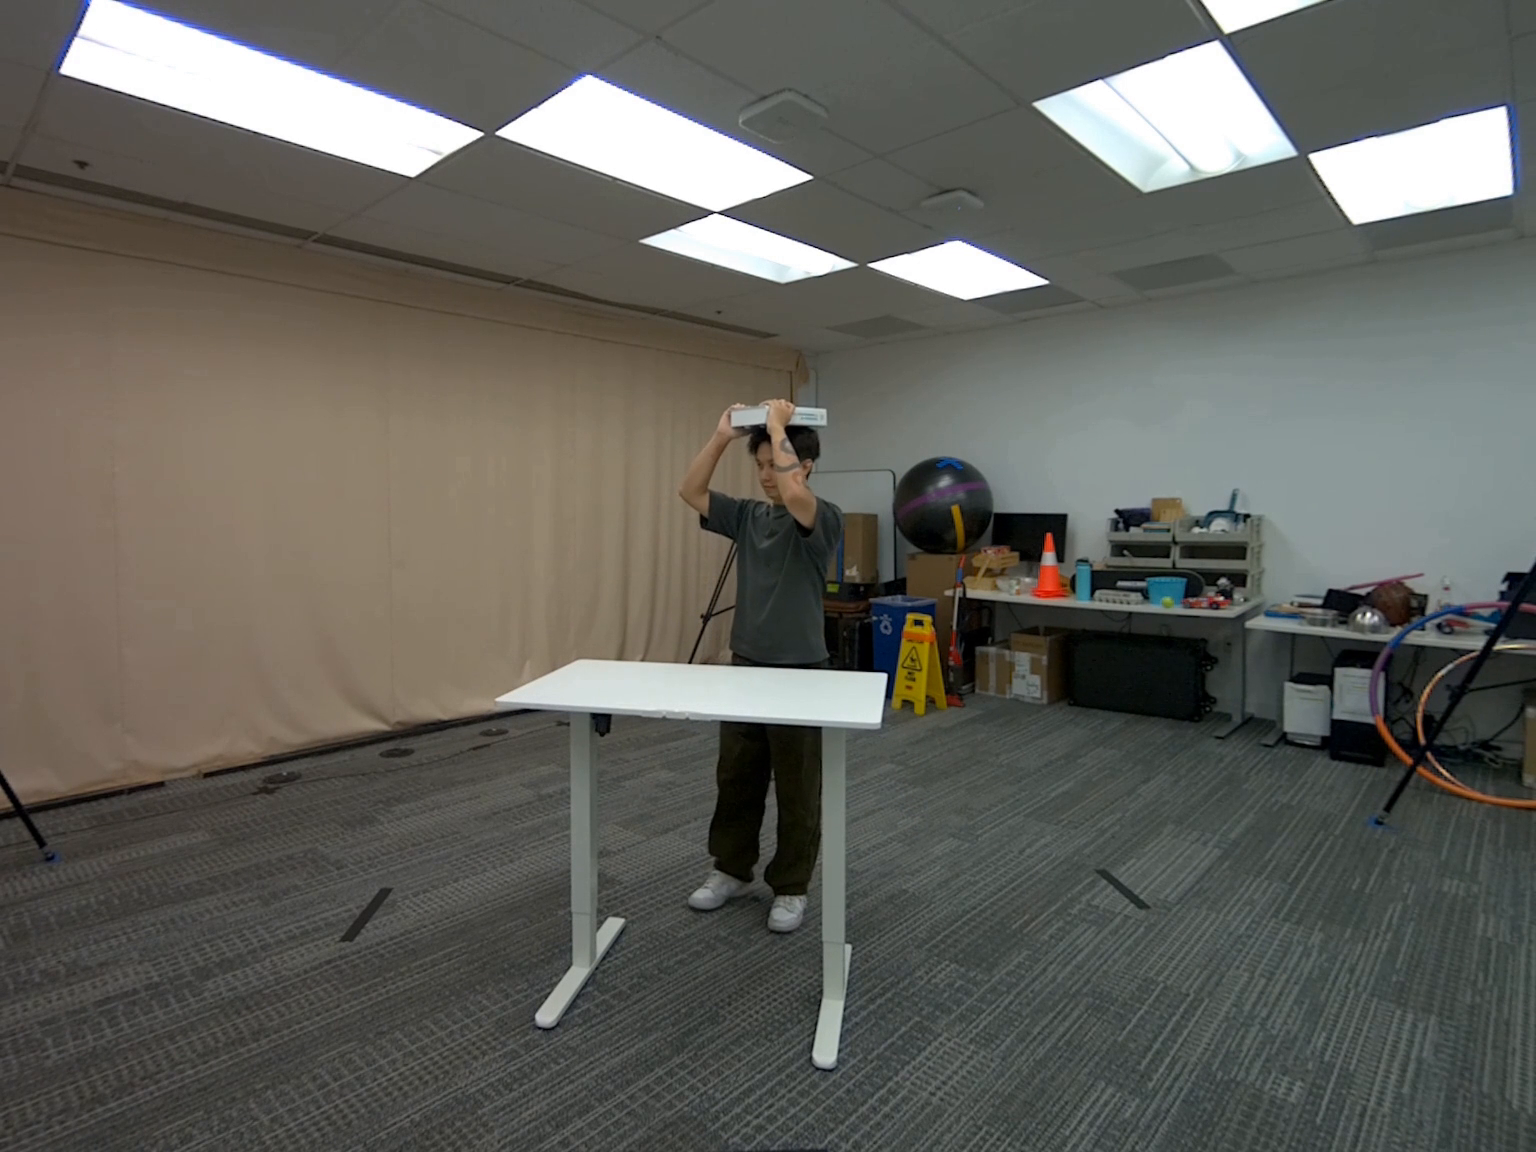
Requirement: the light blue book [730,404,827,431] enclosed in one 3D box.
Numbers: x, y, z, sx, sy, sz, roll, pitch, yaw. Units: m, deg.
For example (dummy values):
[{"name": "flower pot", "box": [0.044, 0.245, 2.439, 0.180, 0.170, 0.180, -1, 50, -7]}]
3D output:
[{"name": "light blue book", "box": [0.042, -0.518, 2.764, 0.253, 0.059, 0.198, -4, 7, -37]}]
